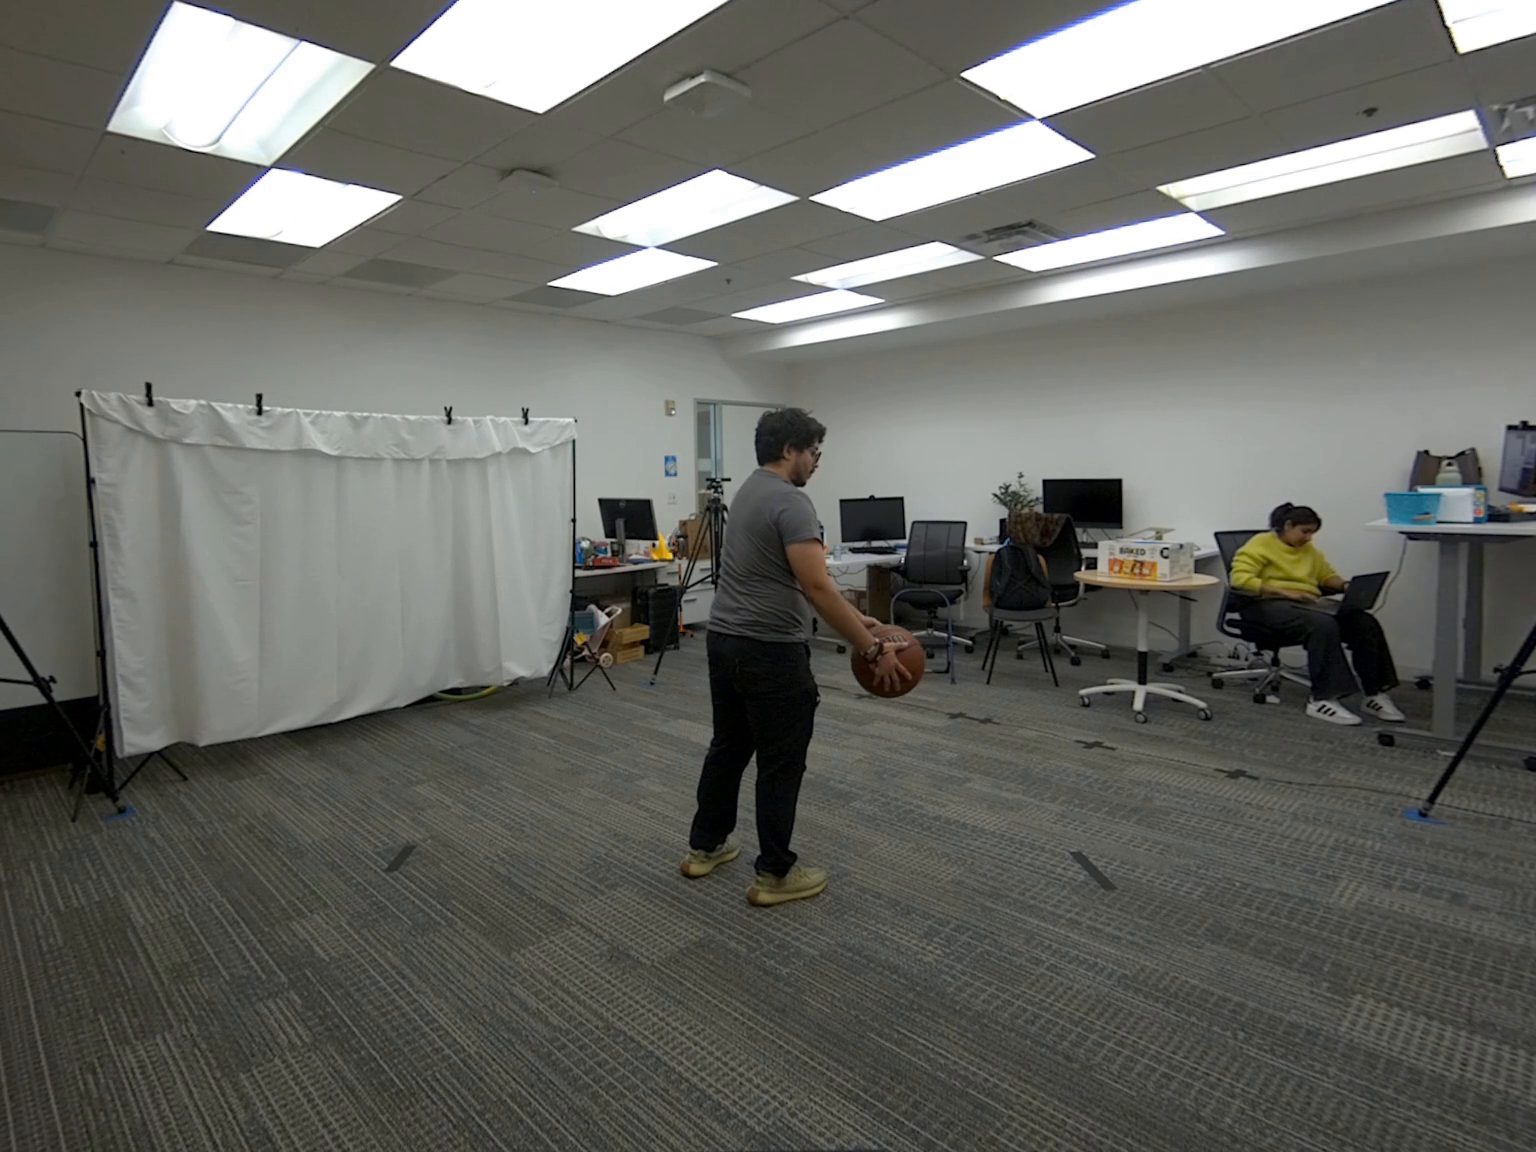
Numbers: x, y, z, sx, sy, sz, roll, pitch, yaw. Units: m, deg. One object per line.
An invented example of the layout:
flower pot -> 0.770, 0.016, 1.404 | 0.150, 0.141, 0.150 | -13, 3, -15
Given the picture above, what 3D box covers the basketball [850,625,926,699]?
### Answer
basketball -> 0.392, 0.274, 2.809 | 0.236, 0.235, 0.237 | -1, 5, -2
